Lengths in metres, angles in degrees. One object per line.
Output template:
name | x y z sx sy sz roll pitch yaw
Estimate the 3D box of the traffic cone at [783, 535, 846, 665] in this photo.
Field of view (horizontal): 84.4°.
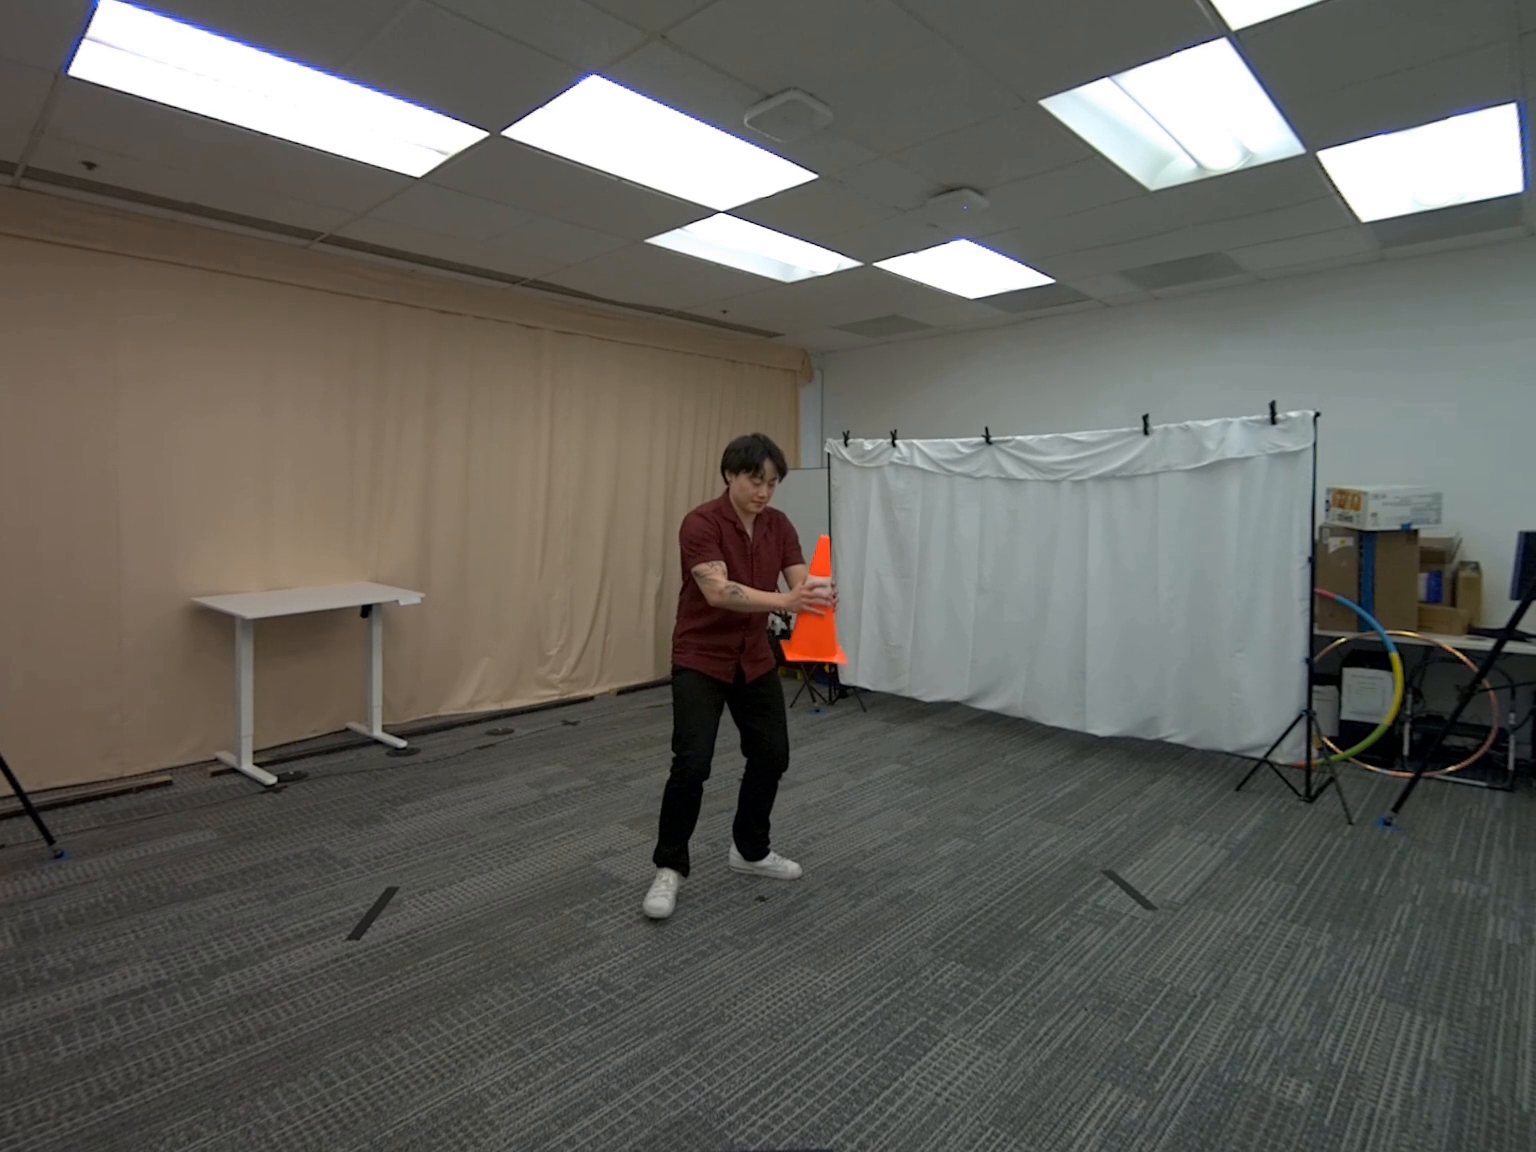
traffic cone | 0.157 0.071 2.686 0.202 0.381 0.207 2 11 -5
